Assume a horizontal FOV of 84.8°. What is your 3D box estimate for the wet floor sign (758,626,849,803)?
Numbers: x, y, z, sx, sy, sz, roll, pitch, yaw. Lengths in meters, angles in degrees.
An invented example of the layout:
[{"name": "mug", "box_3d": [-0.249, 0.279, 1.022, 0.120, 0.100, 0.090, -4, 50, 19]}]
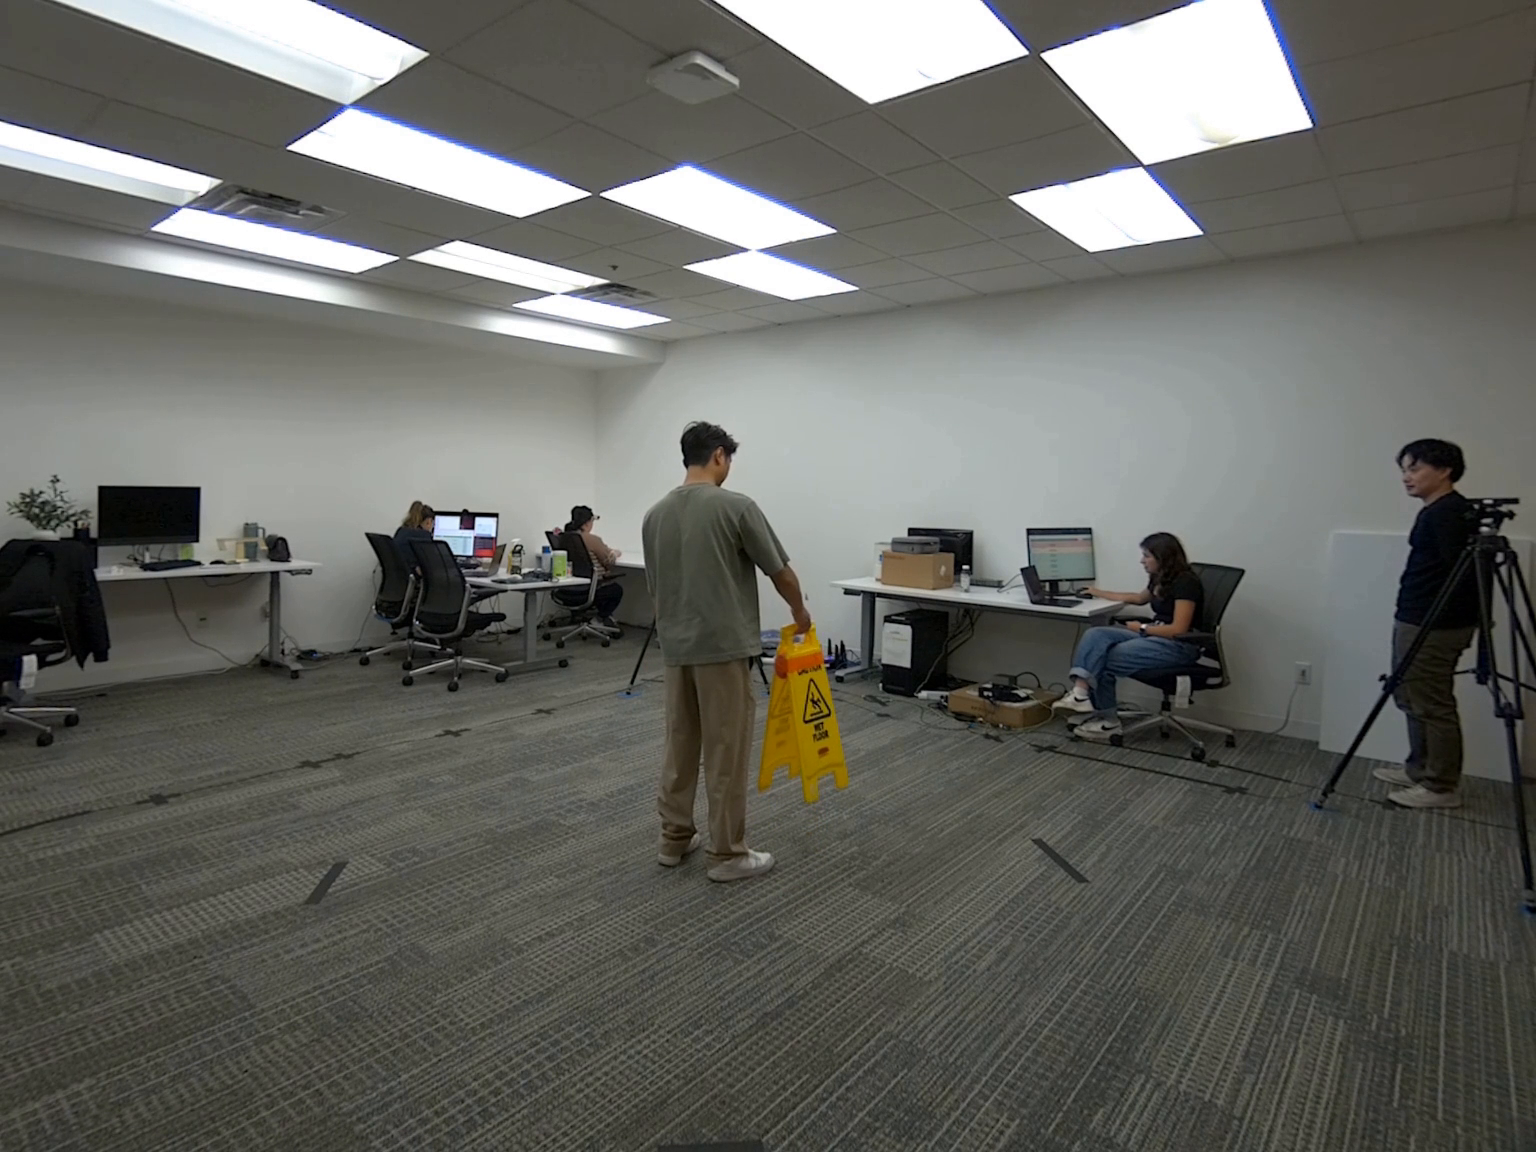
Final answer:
[{"name": "wet floor sign", "box_3d": [0.115, 0.511, 3.345, 0.299, 0.646, 0.274, -1, 1, 41]}]
